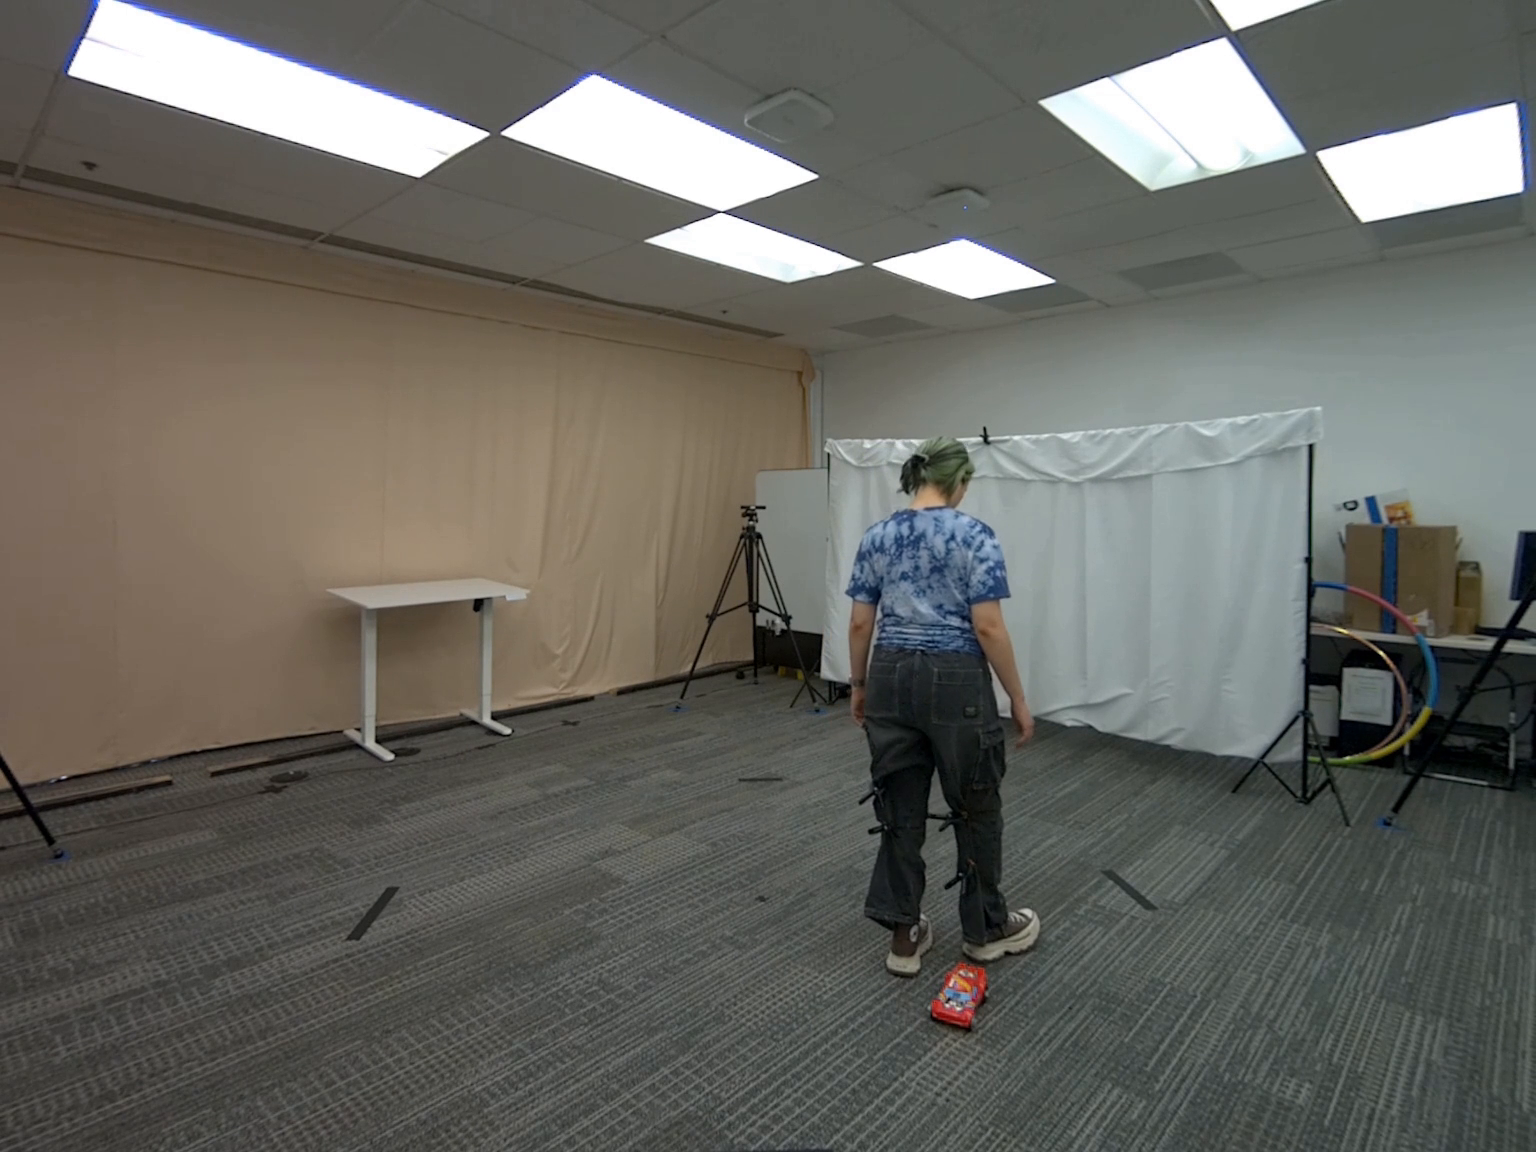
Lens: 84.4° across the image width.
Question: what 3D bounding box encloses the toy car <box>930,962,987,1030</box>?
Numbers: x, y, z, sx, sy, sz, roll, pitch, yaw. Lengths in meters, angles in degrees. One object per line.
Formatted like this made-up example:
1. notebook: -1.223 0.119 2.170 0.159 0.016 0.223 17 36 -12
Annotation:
1. toy car: 0.546 1.162 2.340 0.134 0.082 0.250 1 14 29
